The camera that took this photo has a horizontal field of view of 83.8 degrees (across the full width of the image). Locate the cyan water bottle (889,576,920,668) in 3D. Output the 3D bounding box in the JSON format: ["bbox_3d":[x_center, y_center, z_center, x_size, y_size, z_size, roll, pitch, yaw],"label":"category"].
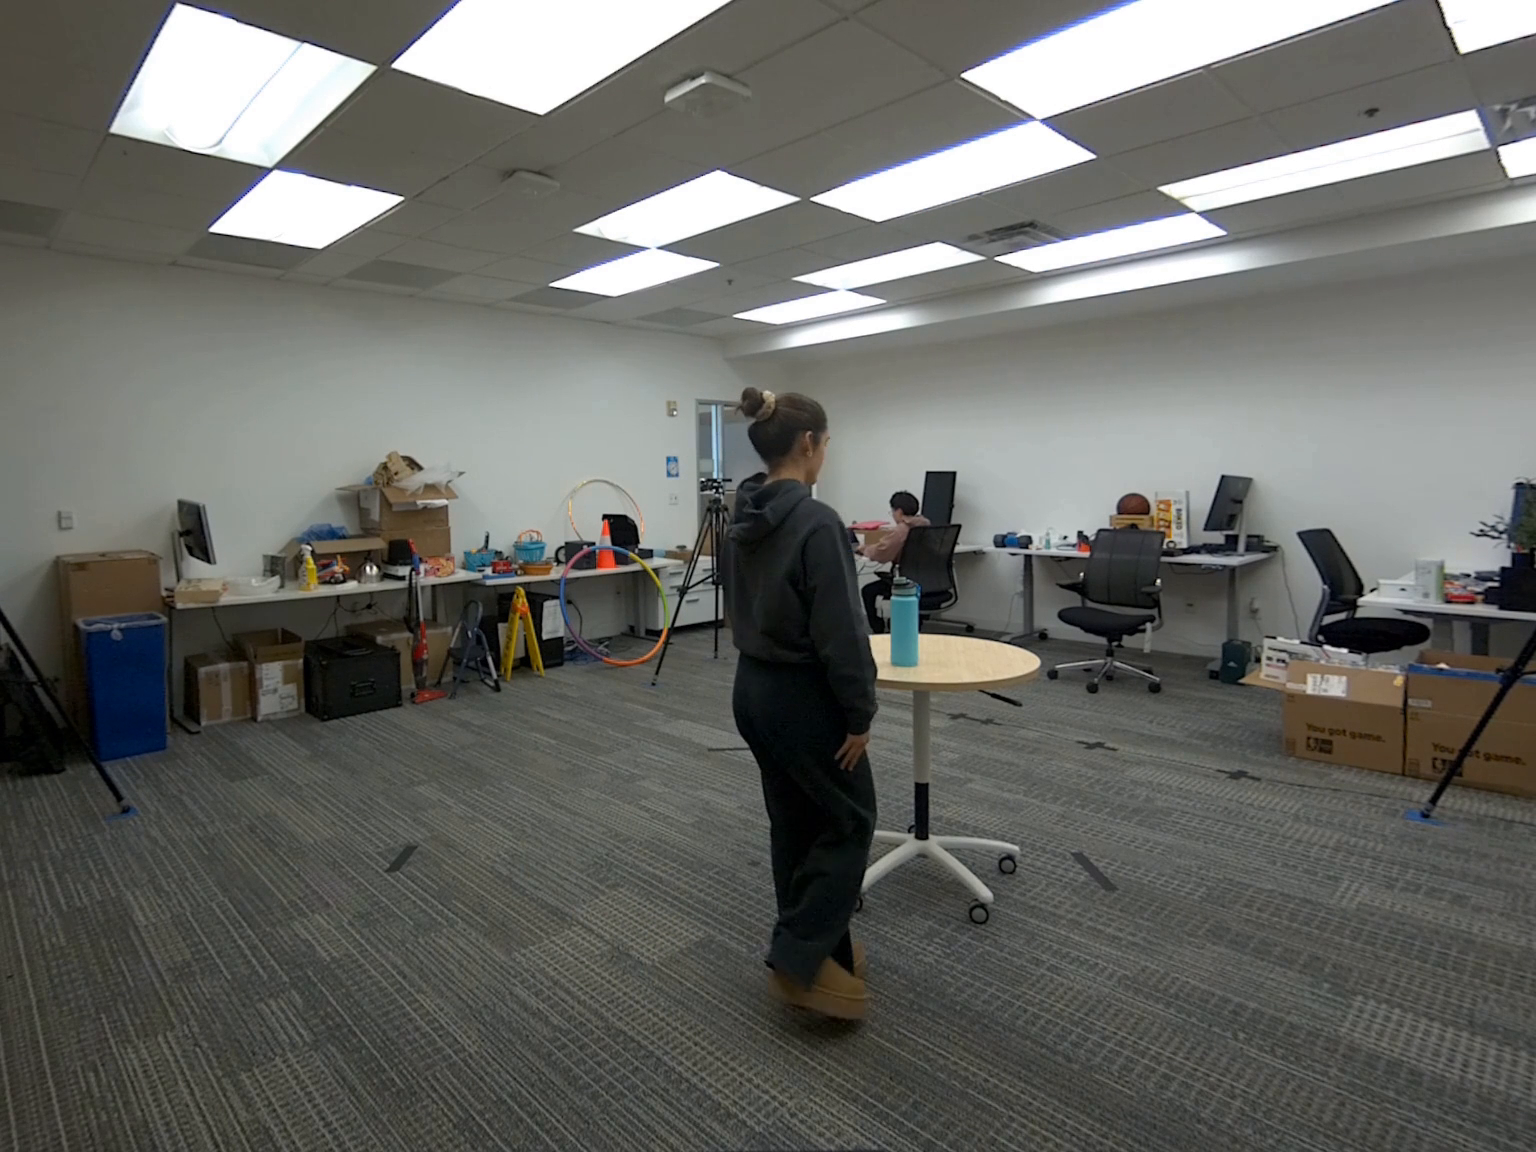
[{"bbox_3d":[0.454,0.150,2.780,0.092,0.283,0.092,0,2,-2],"label":"cyan water bottle"}]
